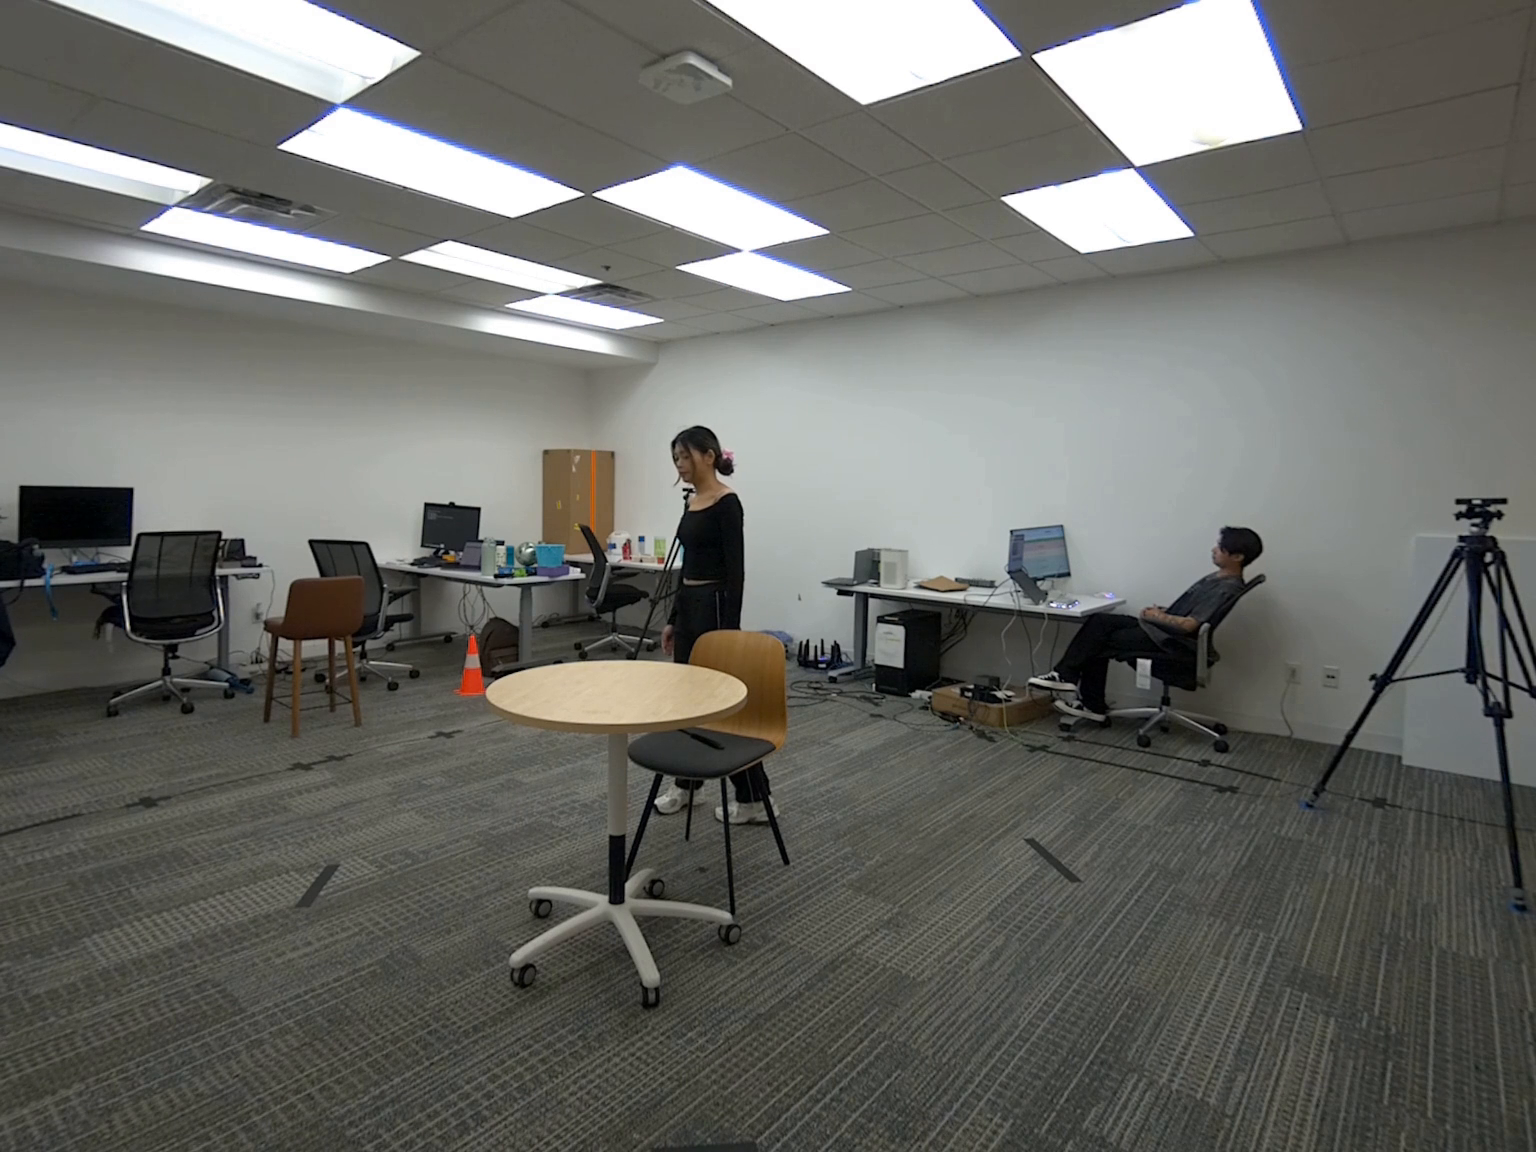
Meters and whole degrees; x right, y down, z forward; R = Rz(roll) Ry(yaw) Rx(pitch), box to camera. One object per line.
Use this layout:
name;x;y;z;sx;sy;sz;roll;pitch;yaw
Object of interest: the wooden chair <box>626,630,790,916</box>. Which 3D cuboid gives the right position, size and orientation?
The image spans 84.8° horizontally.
wooden chair;-0.216;0.647;3.043;0.491;0.878;0.508;3;0;27
